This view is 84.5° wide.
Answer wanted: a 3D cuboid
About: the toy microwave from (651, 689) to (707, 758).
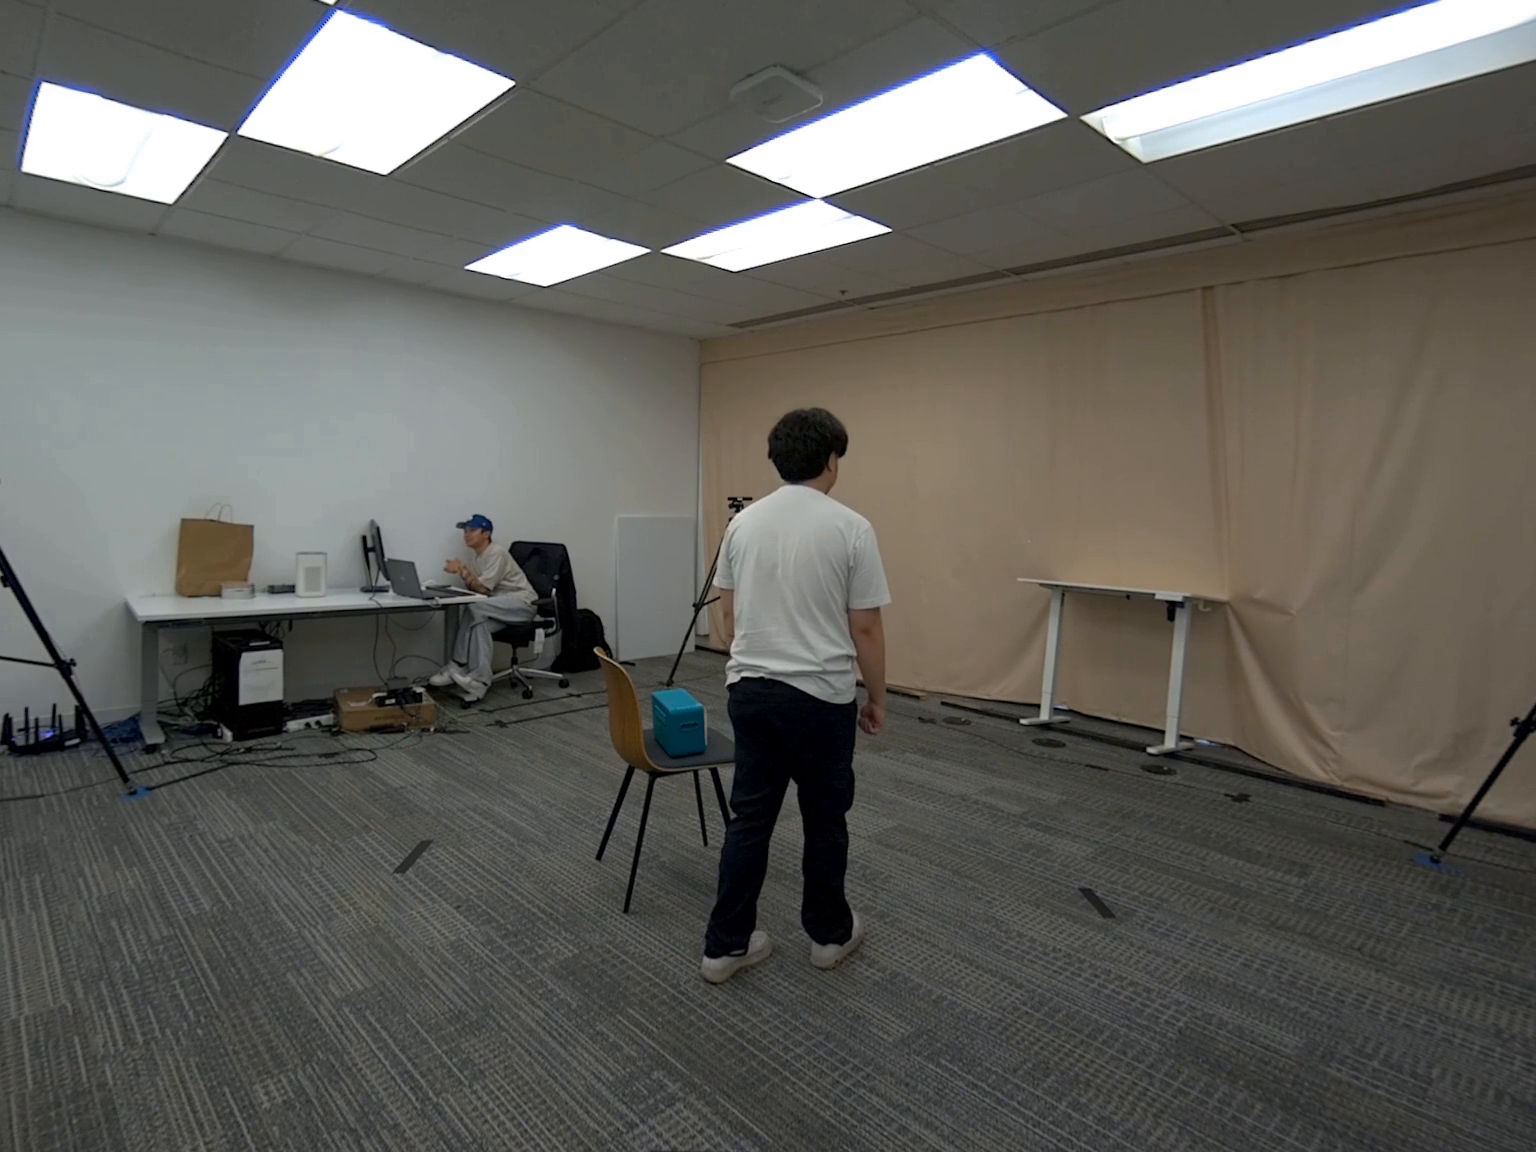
[{"bbox_3d":[-0.330,0.534,3.070,0.150,0.183,0.291,-4,6,-20],"label":"toy microwave"}]
